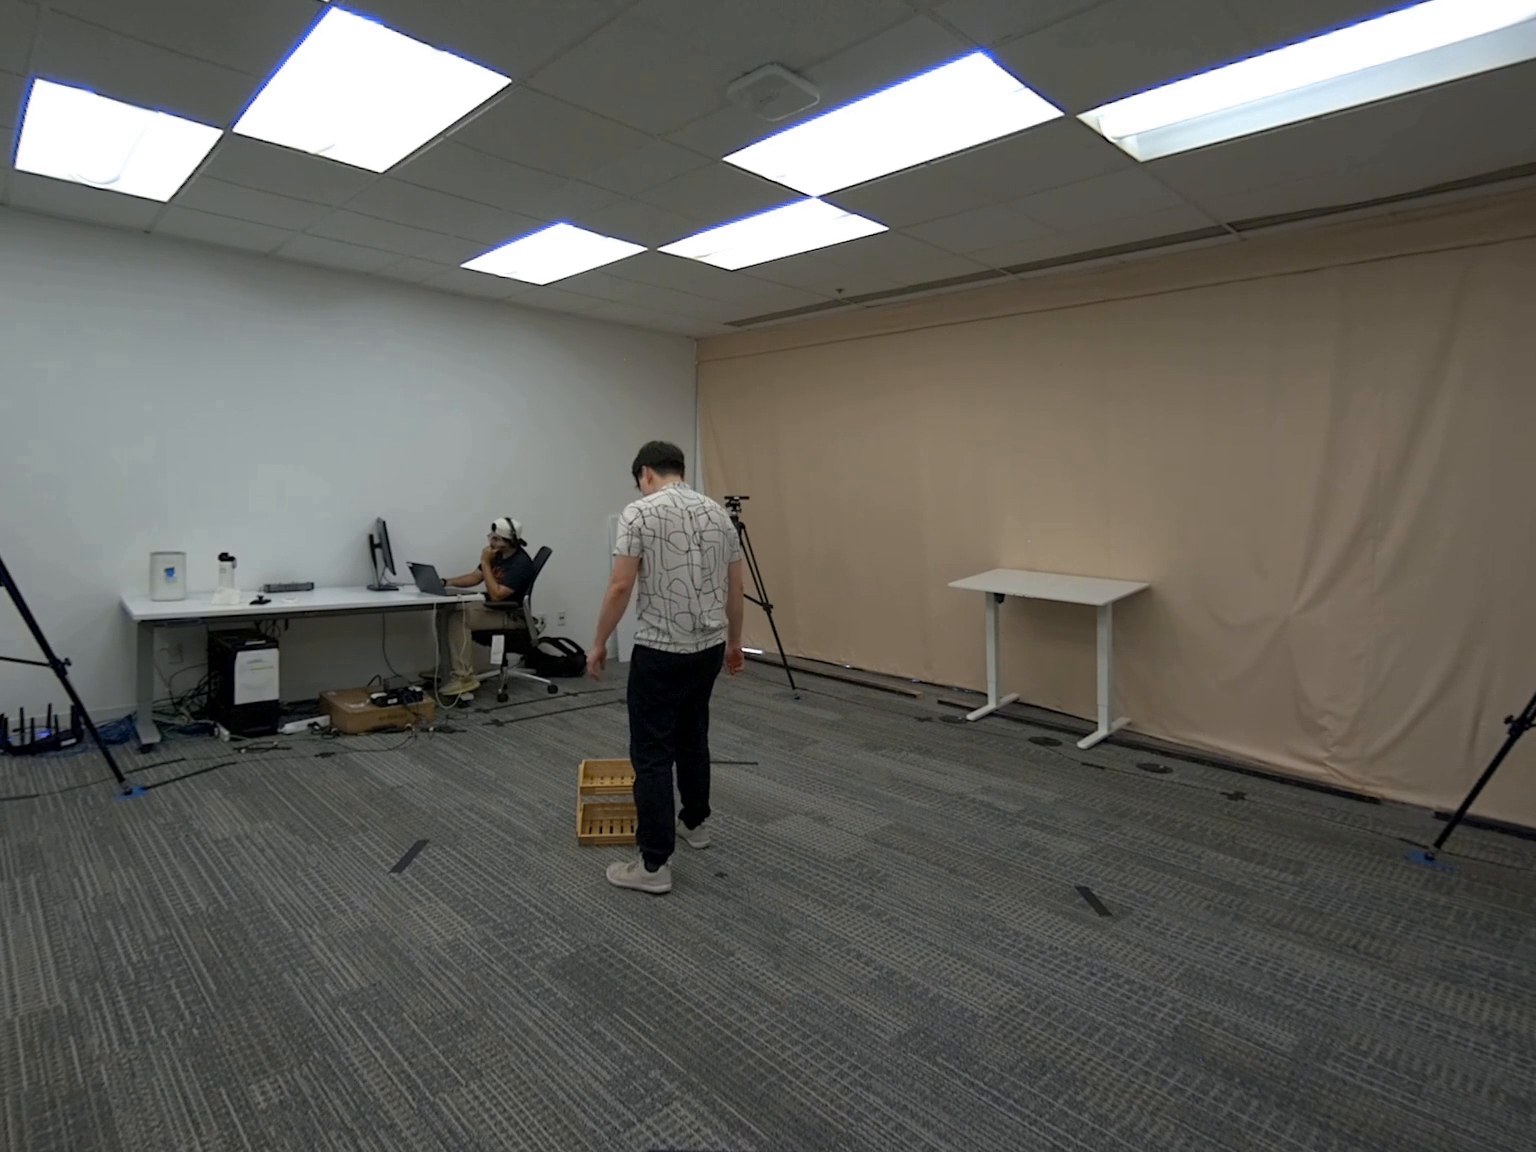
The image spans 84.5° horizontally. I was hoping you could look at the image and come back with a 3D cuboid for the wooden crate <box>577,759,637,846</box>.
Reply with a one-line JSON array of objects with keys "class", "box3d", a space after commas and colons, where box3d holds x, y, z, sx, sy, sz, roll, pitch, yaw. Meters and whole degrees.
[{"class": "wooden crate", "box3d": [-0.630, 0.924, 3.468, 0.322, 0.272, 0.305, 1, 4, -8]}]
